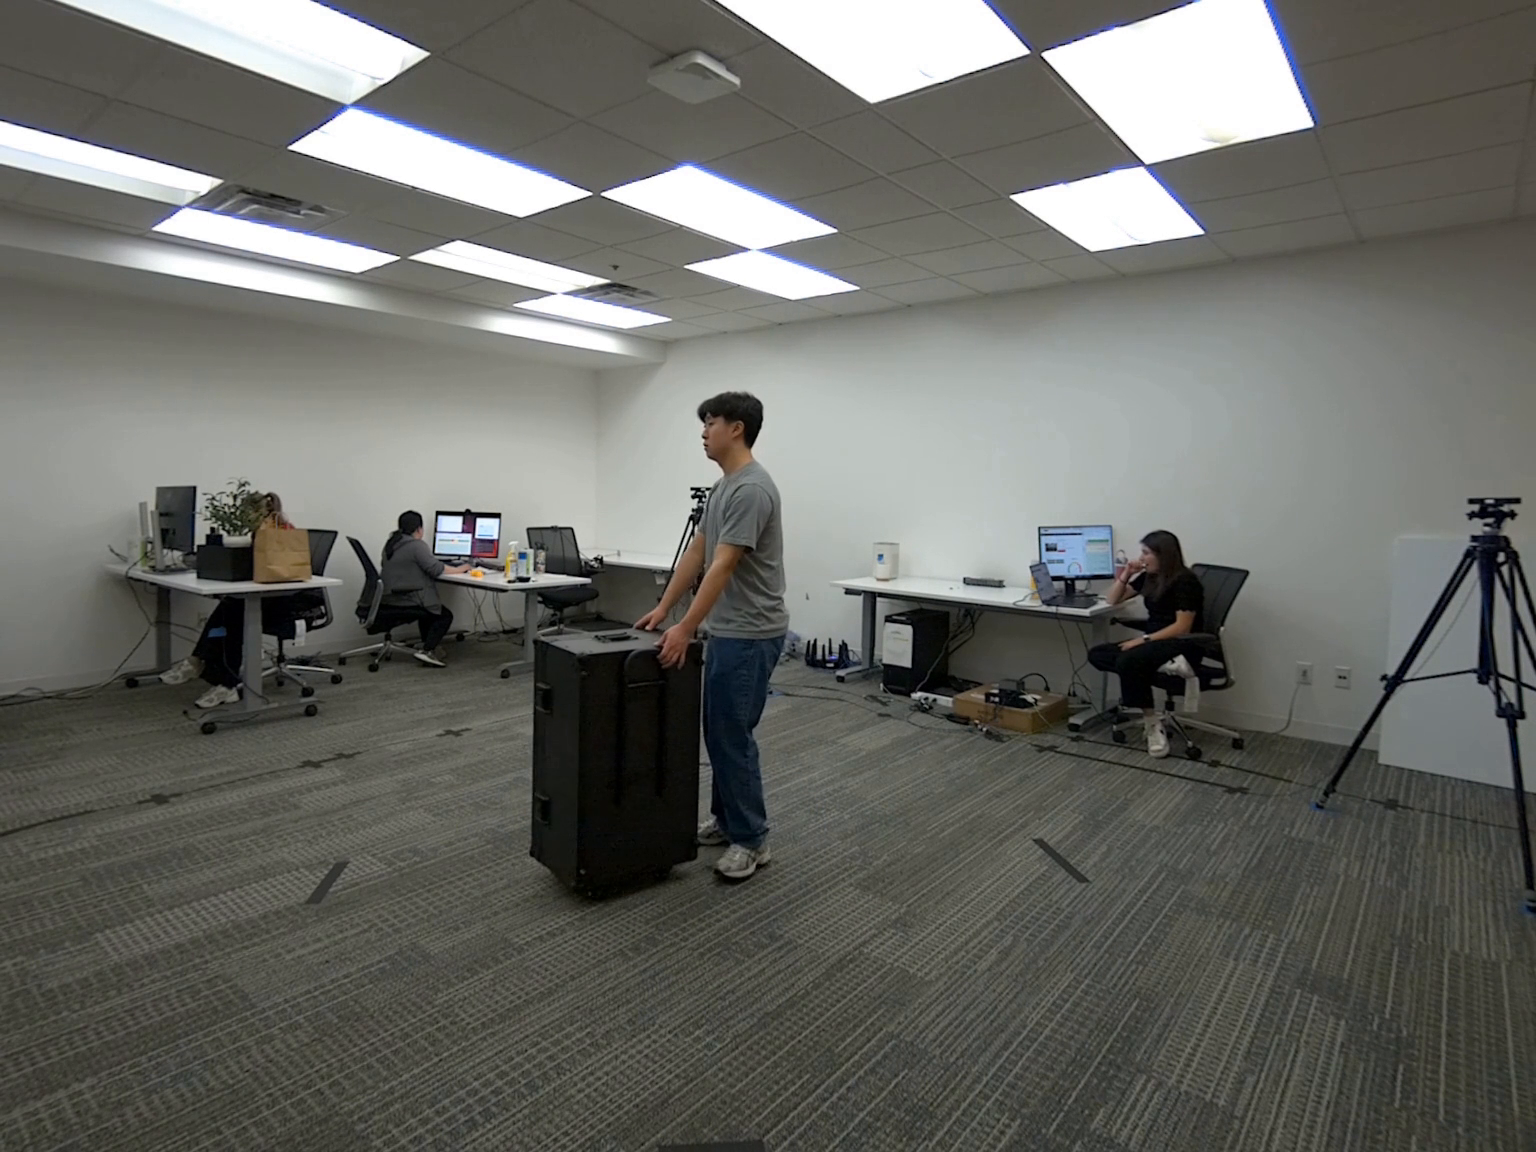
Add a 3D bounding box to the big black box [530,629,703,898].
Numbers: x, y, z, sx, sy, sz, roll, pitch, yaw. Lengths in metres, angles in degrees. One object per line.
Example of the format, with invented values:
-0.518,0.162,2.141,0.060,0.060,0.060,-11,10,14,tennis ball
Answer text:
-0.539,0.652,2.997,0.506,0.859,0.409,-1,5,-37,big black box
